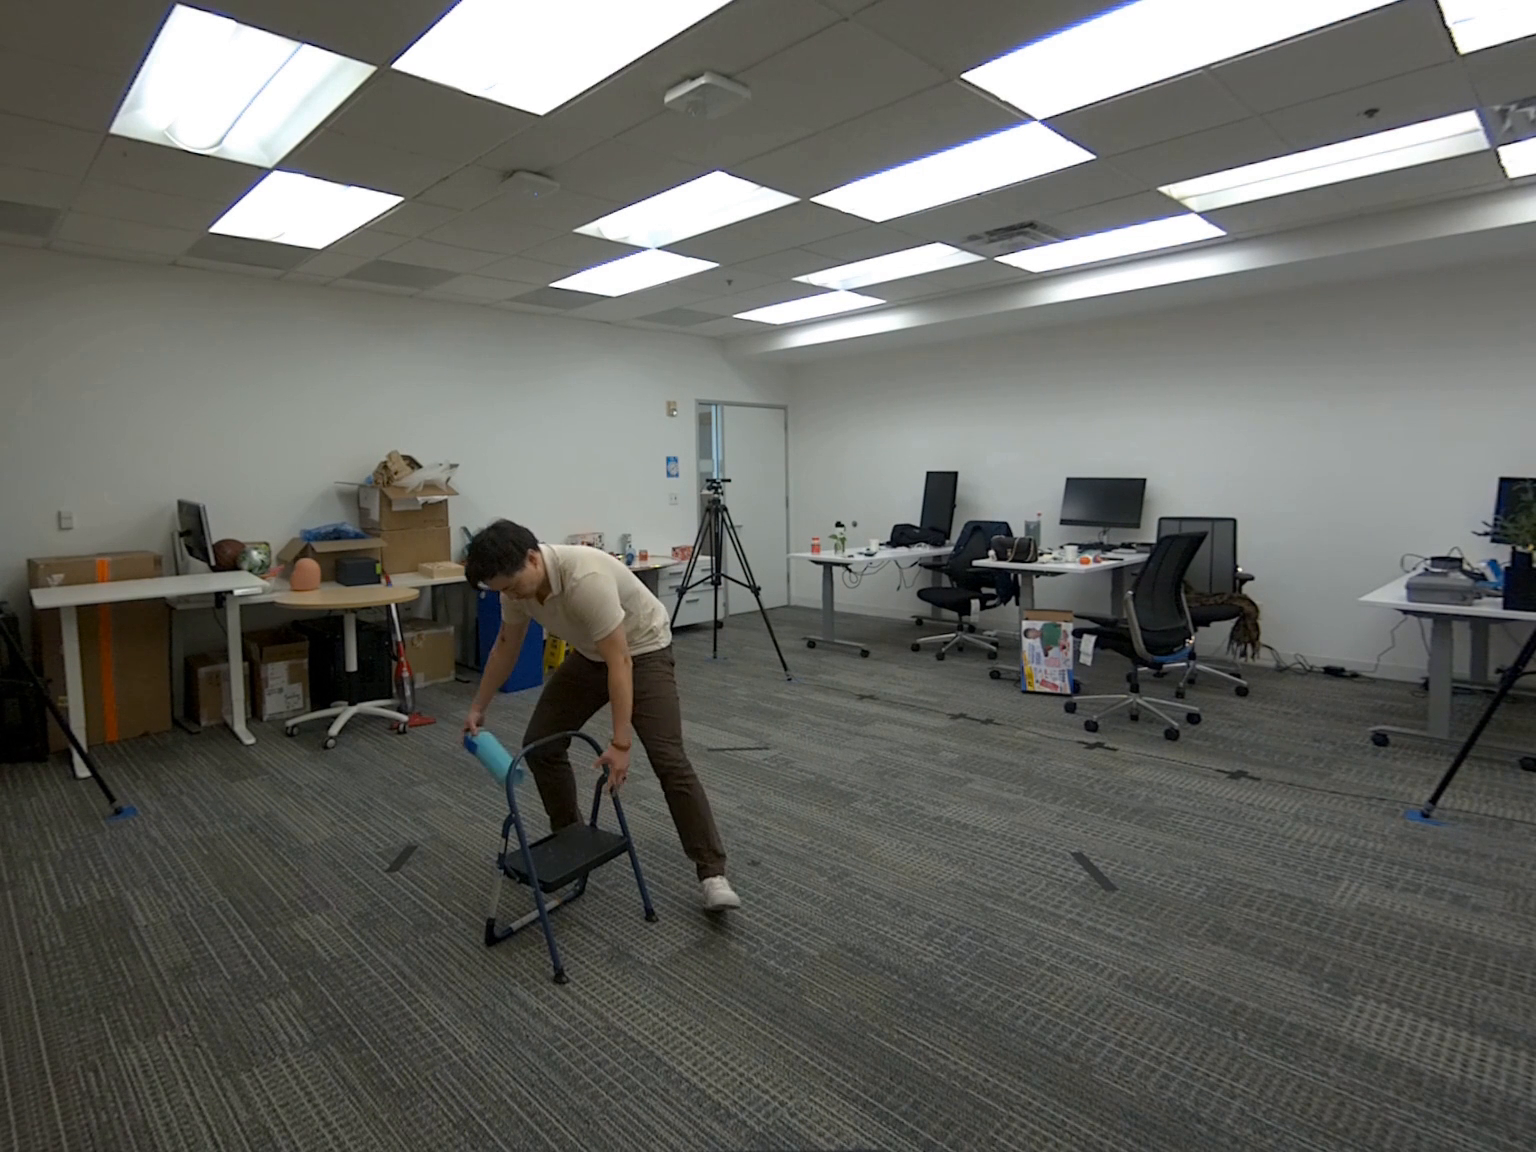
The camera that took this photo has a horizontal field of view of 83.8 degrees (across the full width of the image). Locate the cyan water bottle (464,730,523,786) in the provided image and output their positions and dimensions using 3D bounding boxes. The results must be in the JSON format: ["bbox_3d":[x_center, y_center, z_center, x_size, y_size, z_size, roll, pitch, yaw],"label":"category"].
[{"bbox_3d":[-0.935,0.599,2.925,0.294,0.091,0.090,31,23,34],"label":"cyan water bottle"}]
